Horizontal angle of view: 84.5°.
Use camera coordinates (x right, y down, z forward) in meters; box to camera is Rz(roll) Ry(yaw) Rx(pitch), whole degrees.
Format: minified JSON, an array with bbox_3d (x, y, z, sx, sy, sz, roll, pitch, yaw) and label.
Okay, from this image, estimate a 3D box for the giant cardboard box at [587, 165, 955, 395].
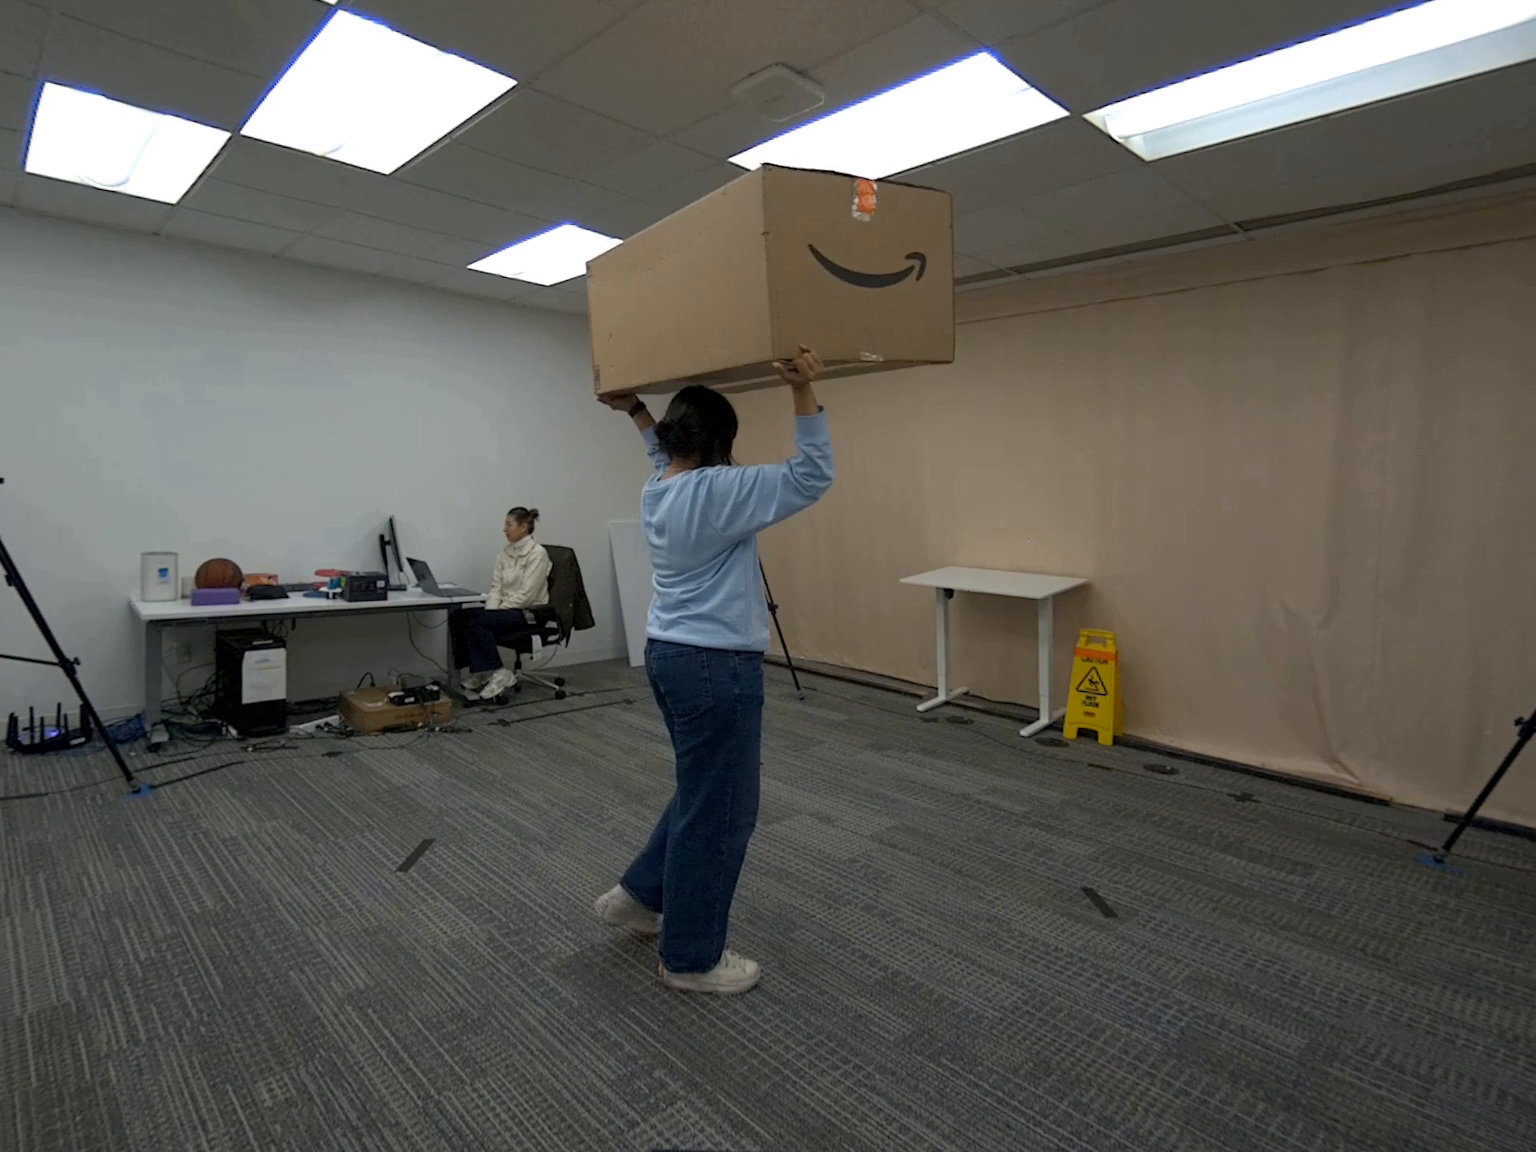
[{"bbox_3d":[-0.058,-0.774,2.421,0.567,0.424,1.051,-8,10,-33],"label":"giant cardboard box"}]
